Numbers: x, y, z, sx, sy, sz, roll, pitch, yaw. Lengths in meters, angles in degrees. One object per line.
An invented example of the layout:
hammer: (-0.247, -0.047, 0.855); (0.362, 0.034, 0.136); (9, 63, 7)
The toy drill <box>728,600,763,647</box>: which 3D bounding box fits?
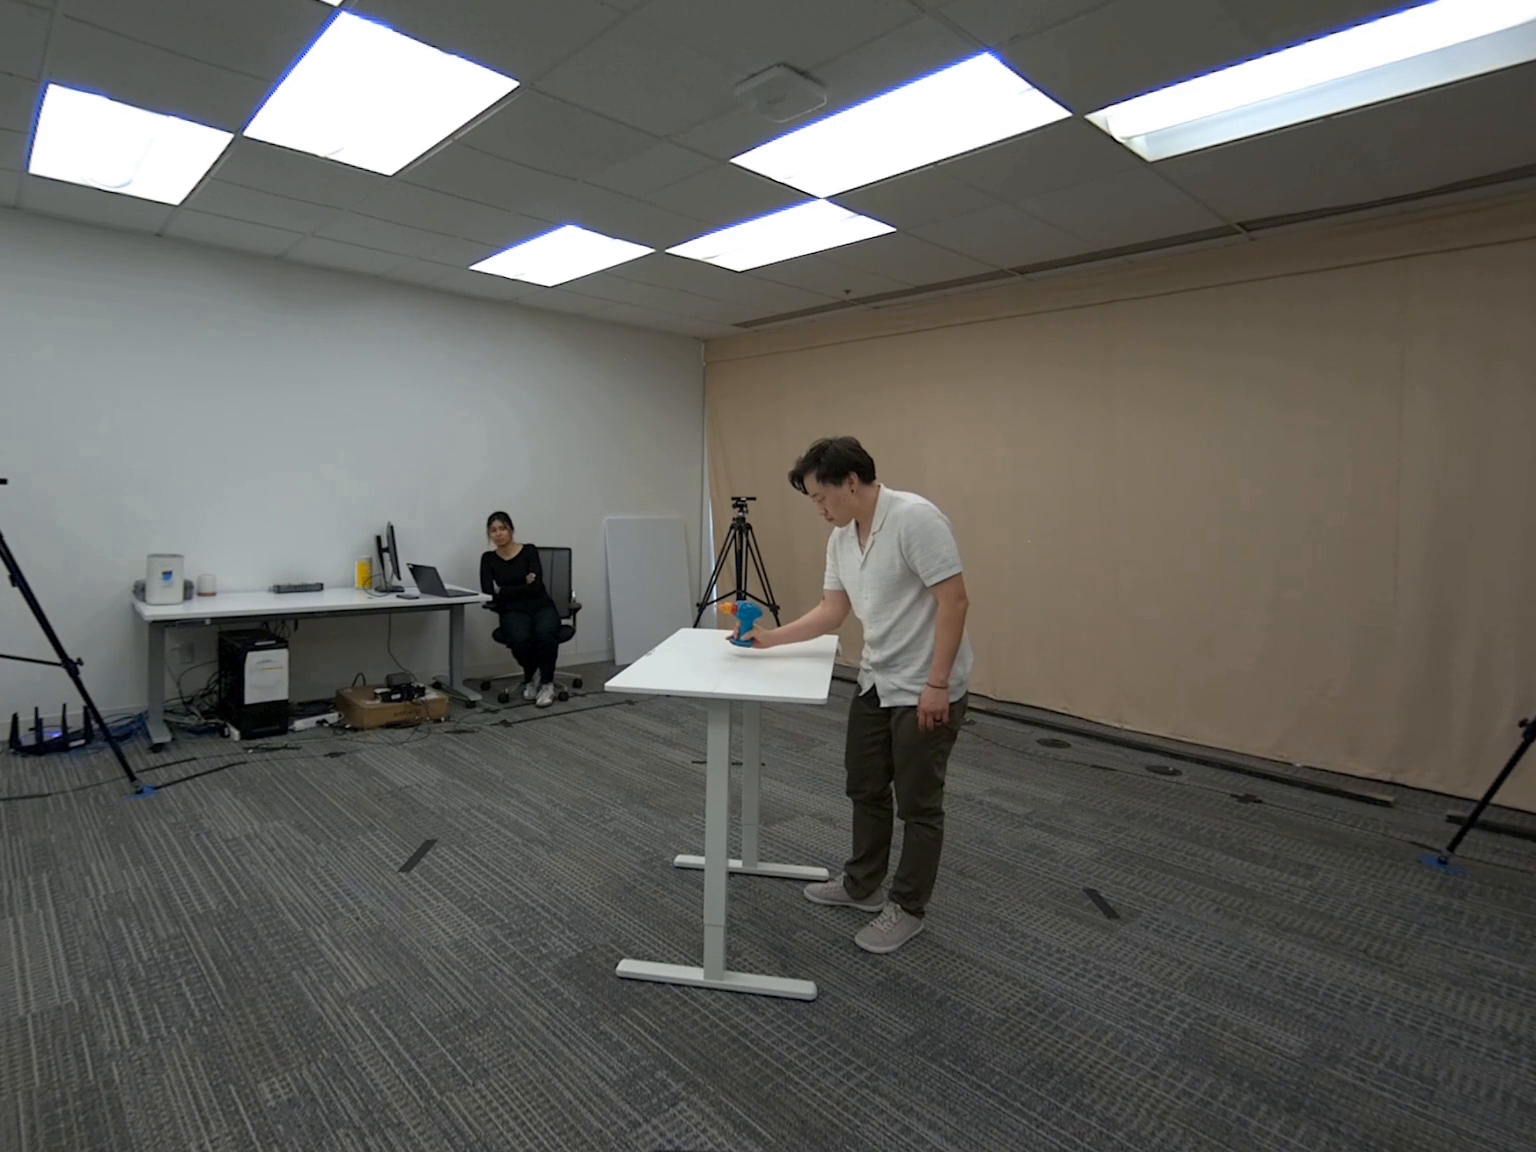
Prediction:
toy drill: (-0.102, 0.149, 2.699); (0.167, 0.146, 0.062); (12, 0, -20)
